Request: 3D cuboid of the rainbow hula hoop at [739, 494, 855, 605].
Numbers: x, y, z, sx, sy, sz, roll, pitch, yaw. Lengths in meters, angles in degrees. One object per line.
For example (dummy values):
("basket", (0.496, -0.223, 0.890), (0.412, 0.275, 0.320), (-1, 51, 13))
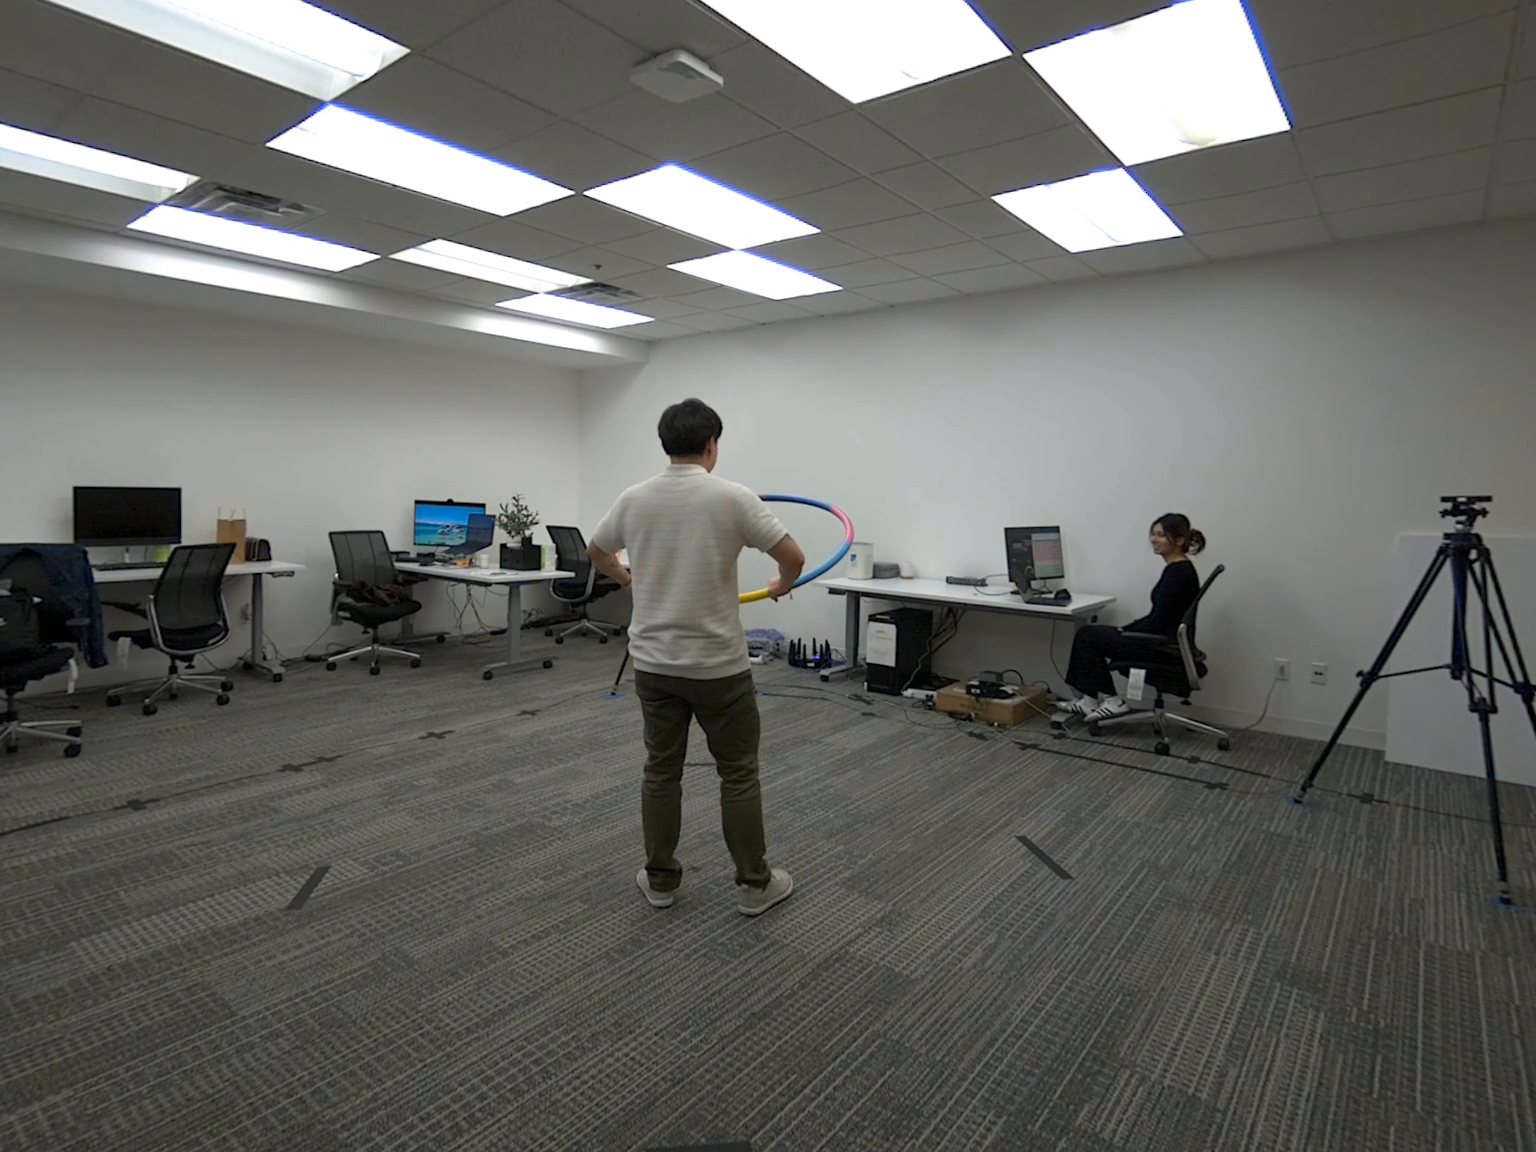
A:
("rainbow hula hoop", (-0.139, -0.131, 3.446), (0.982, 0.034, 1.002), (-9, 27, 3))
